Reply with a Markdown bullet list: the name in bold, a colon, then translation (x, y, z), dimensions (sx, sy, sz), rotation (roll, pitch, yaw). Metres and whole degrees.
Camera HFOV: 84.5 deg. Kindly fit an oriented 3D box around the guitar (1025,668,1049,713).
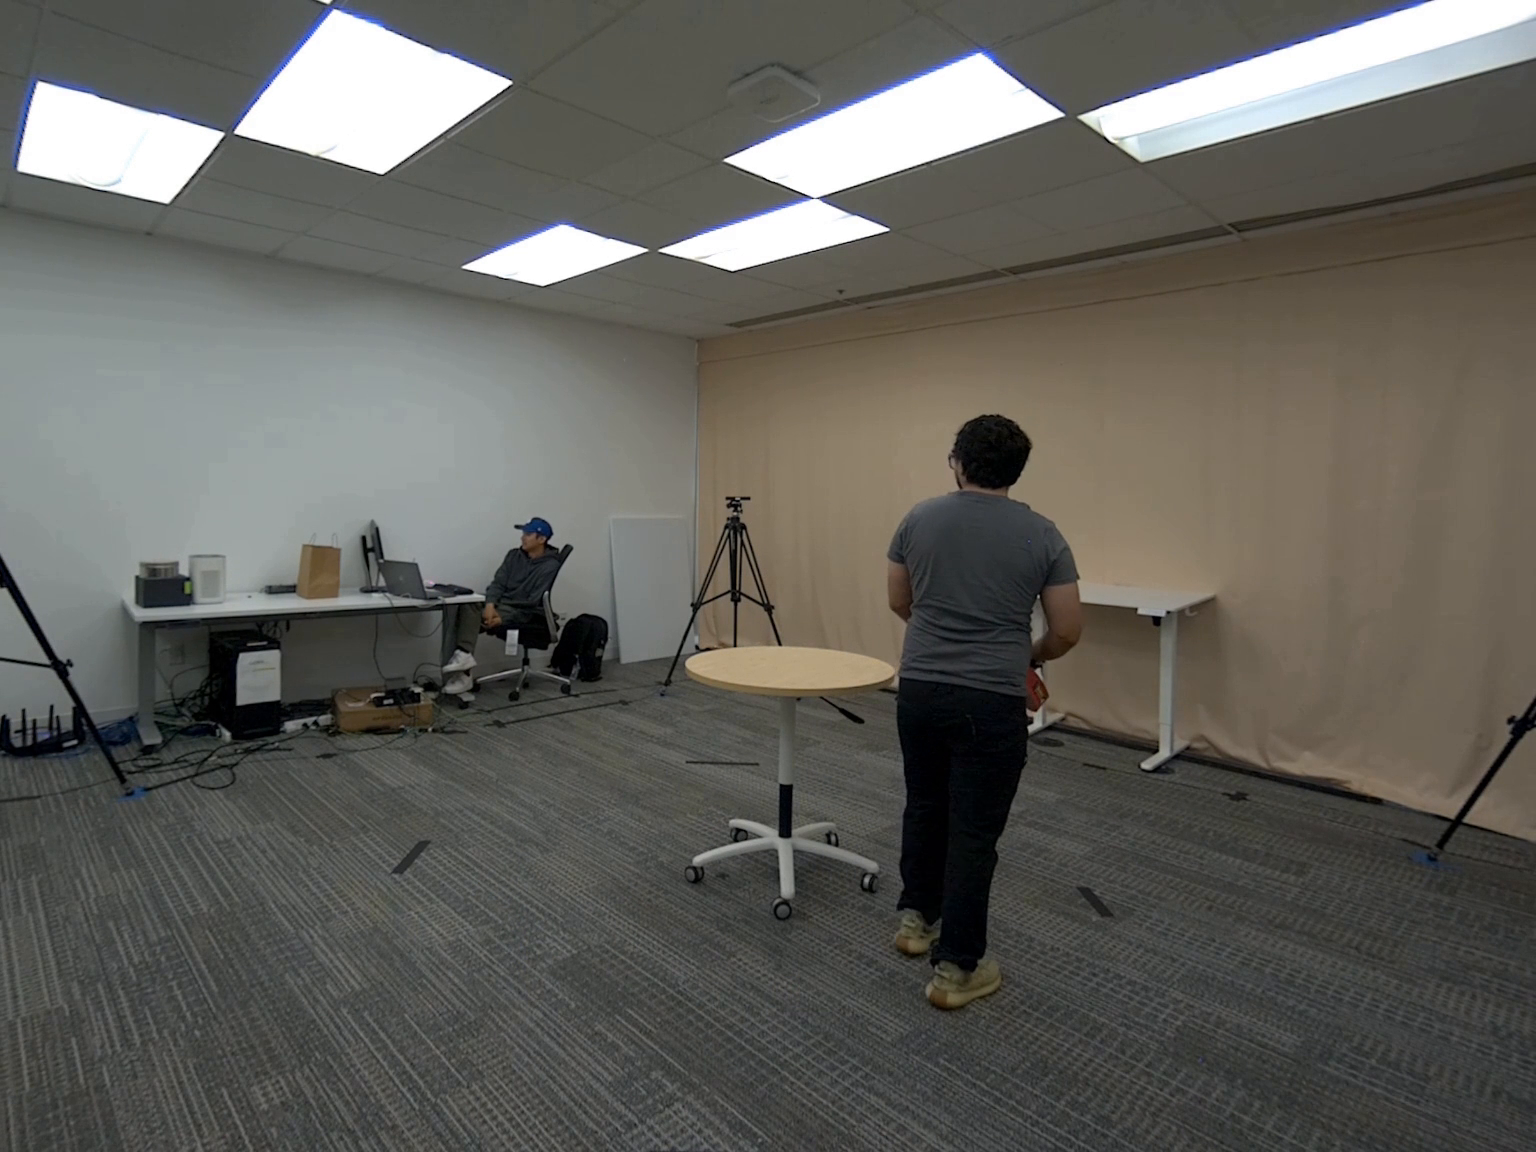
- **guitar**: translation (0.677, 0.285, 2.695), dimensions (0.188, 0.070, 0.511), rotation (50, -10, -28)
